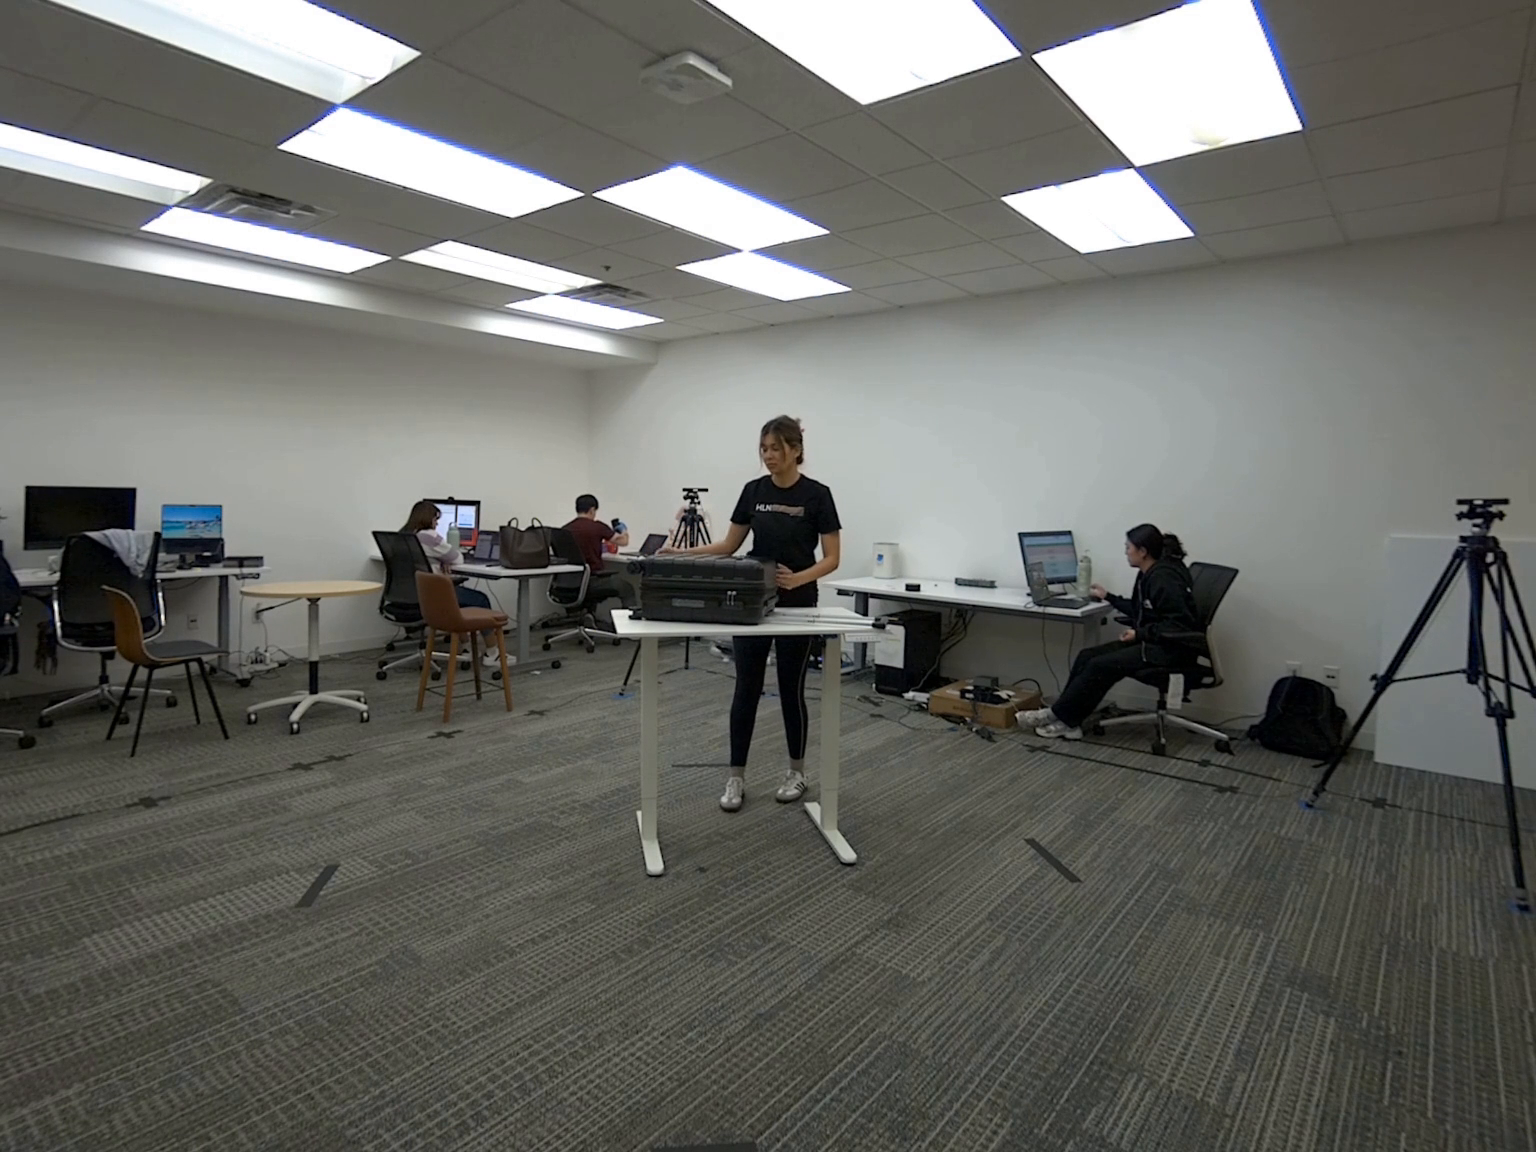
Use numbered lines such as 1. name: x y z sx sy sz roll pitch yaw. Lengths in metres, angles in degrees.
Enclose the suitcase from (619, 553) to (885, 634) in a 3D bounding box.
1. suitcase: -0.055 0.052 3.302 0.994 0.257 0.379 1 2 14
